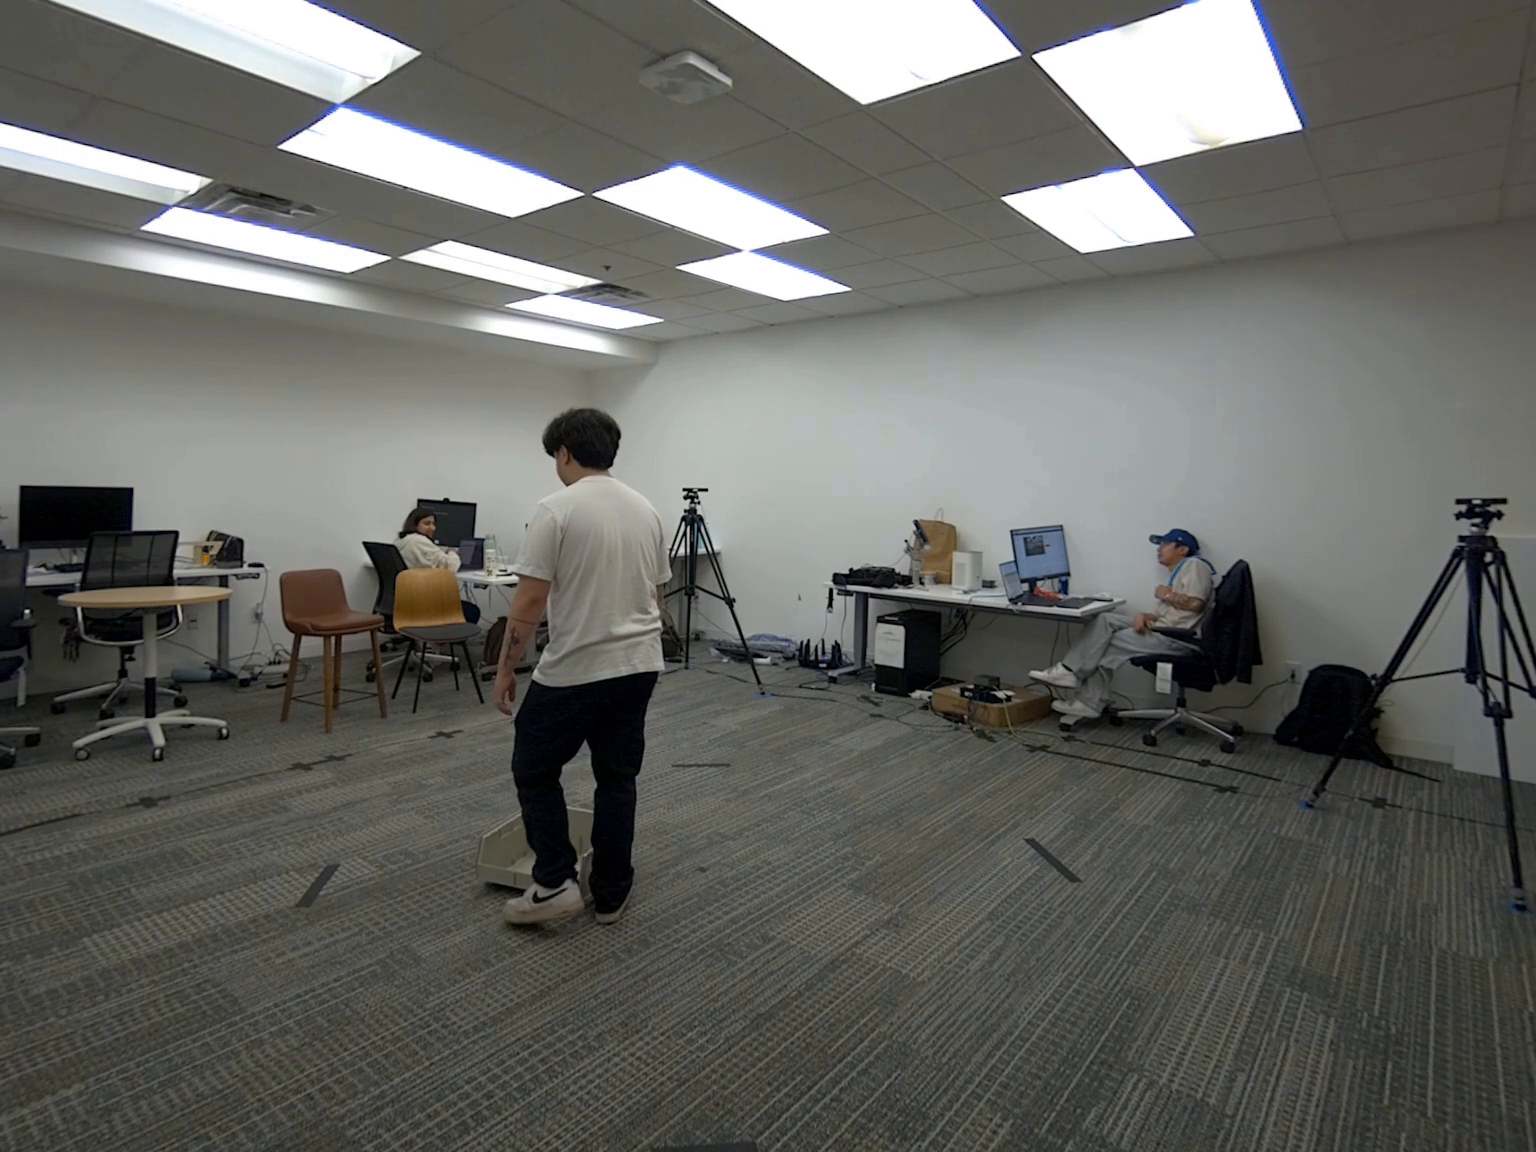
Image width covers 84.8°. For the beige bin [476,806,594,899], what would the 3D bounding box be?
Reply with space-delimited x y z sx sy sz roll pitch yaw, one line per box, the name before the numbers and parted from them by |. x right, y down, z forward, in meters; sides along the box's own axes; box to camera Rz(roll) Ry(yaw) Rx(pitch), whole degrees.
beige bin | -0.762 0.977 3.016 0.431 0.188 0.370 3 4 19
